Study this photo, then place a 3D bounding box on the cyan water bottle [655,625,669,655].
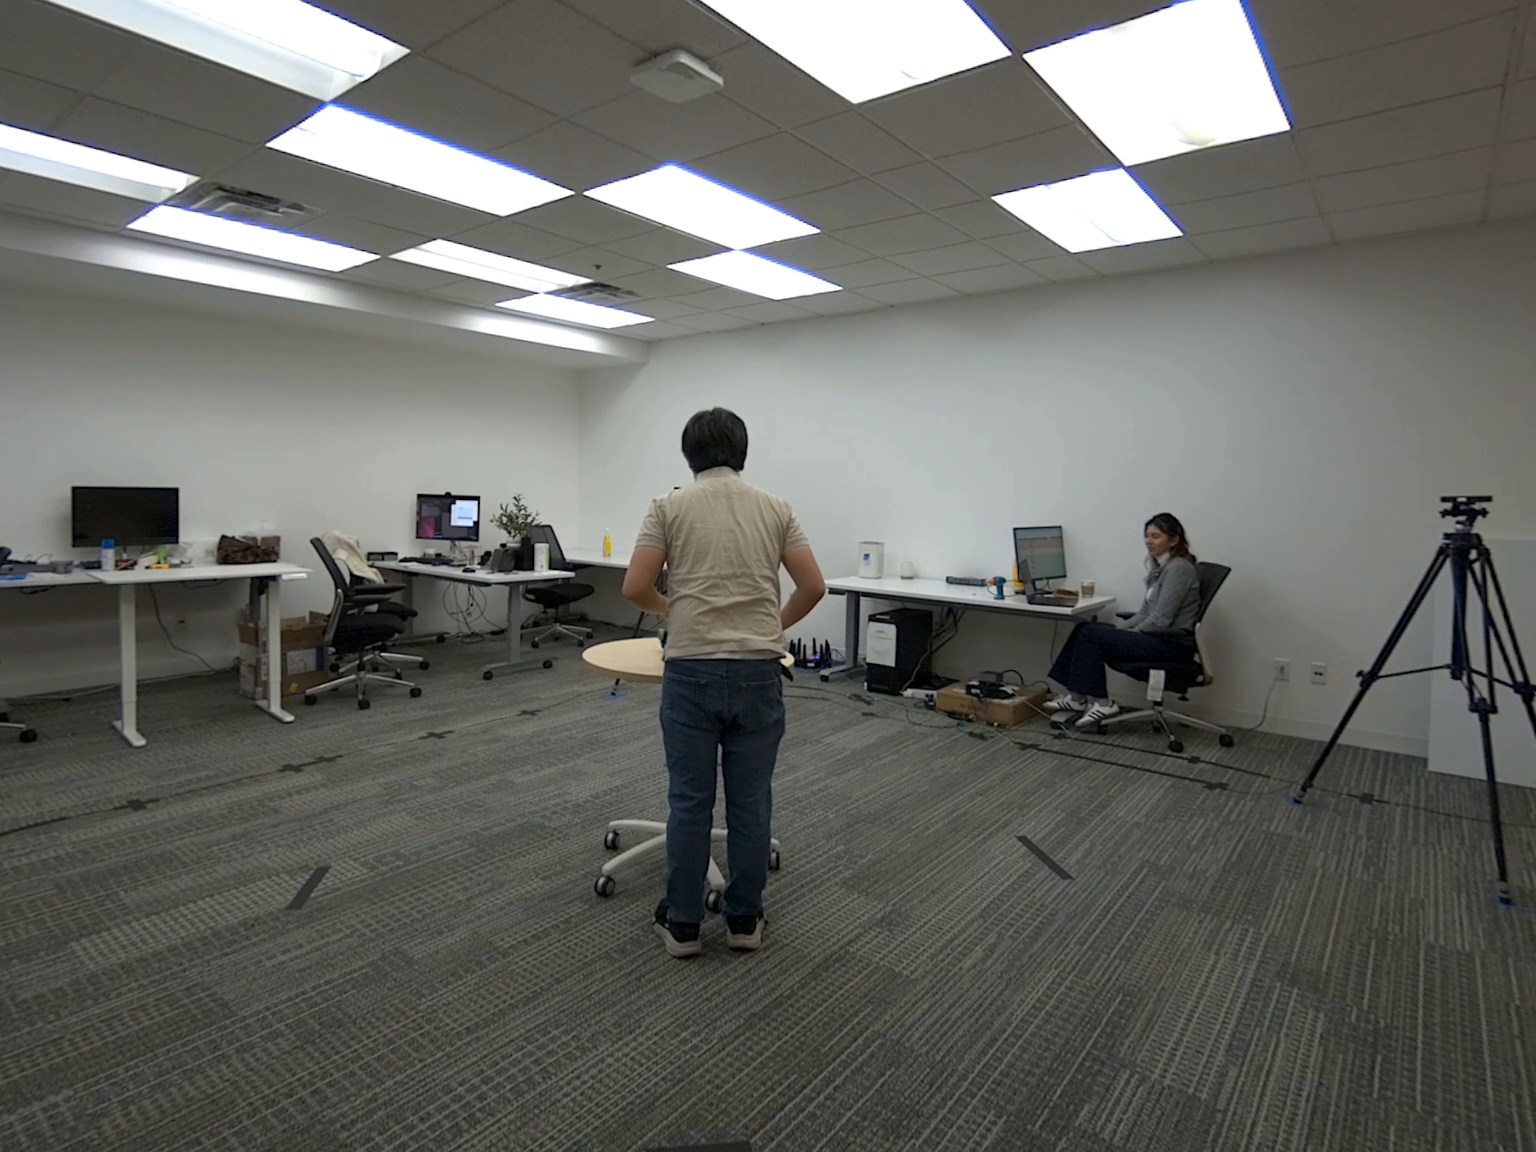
[{"bbox_3d":[-0.271,0.229,3.152,0.280,0.092,0.094,1,4,-12],"label":"cyan water bottle"}]
